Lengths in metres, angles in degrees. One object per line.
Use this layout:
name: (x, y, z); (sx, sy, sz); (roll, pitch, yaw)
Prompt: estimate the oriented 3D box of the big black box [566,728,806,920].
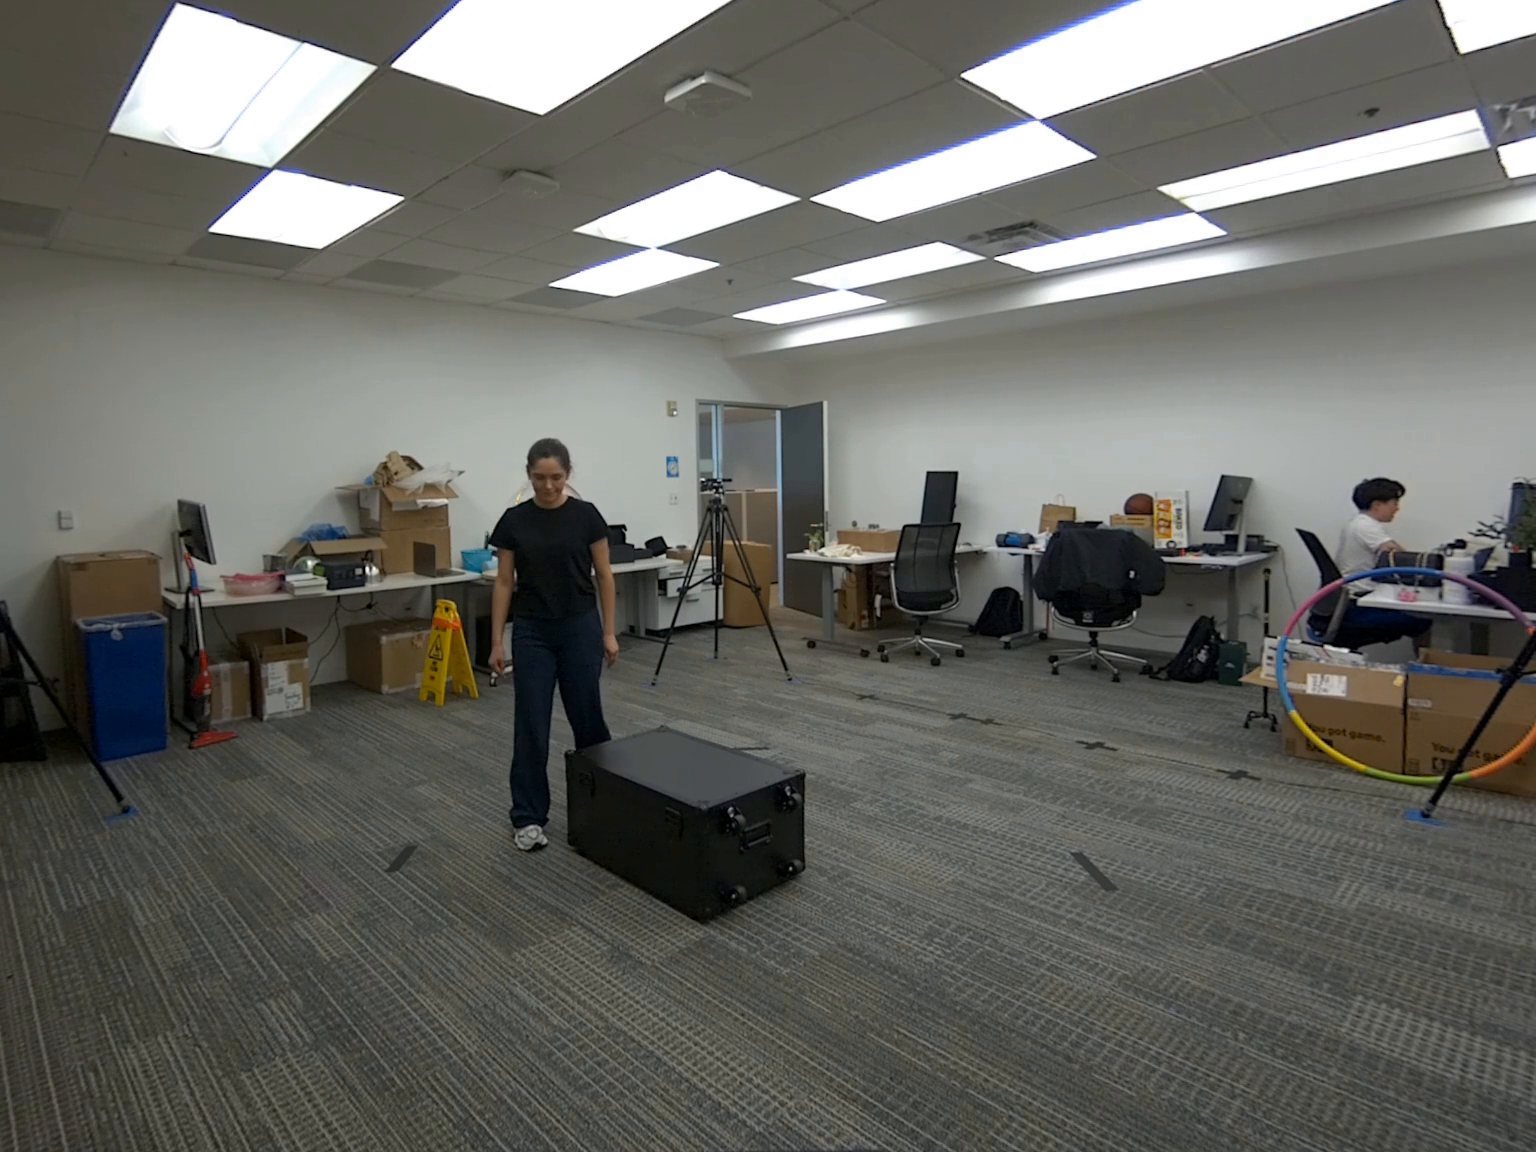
big black box: (-0.296, 0.862, 3.089); (0.508, 0.394, 0.888); (-7, 8, -44)
